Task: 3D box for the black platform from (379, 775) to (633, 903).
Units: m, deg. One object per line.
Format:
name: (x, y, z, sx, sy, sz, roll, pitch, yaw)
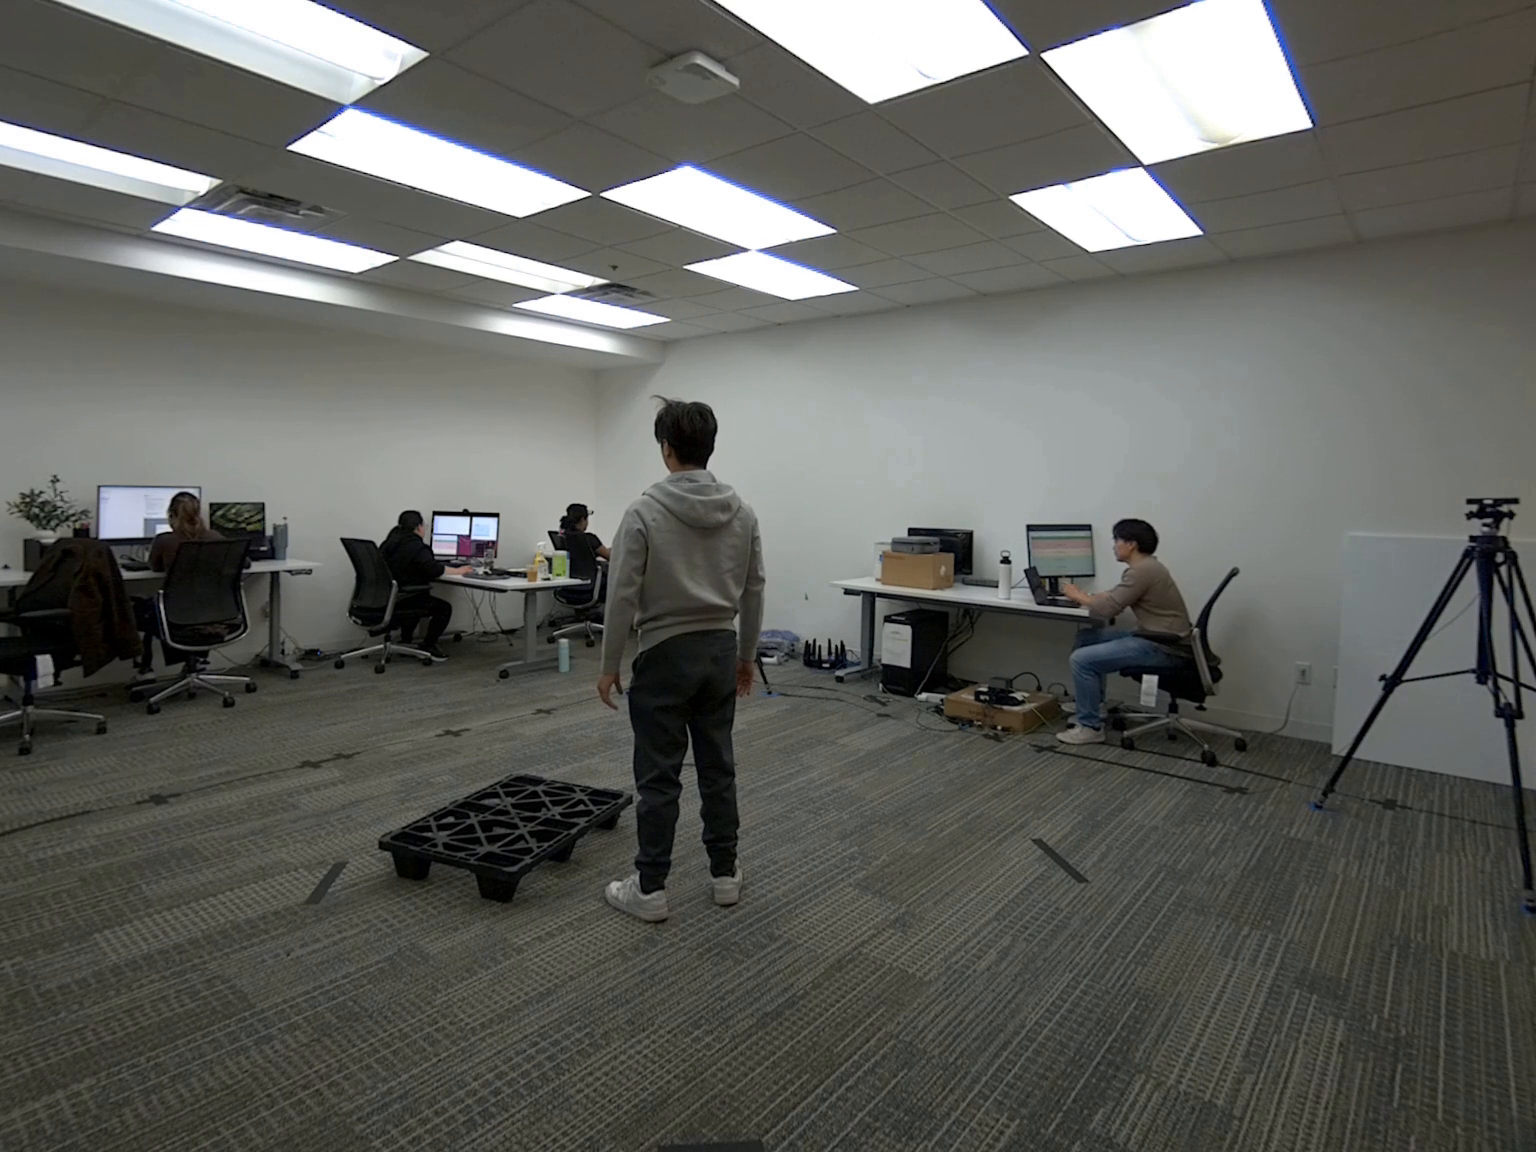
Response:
black platform: (-0.980, 0.972, 3.241, 0.619, 0.143, 0.790, 2, 5, 22)
